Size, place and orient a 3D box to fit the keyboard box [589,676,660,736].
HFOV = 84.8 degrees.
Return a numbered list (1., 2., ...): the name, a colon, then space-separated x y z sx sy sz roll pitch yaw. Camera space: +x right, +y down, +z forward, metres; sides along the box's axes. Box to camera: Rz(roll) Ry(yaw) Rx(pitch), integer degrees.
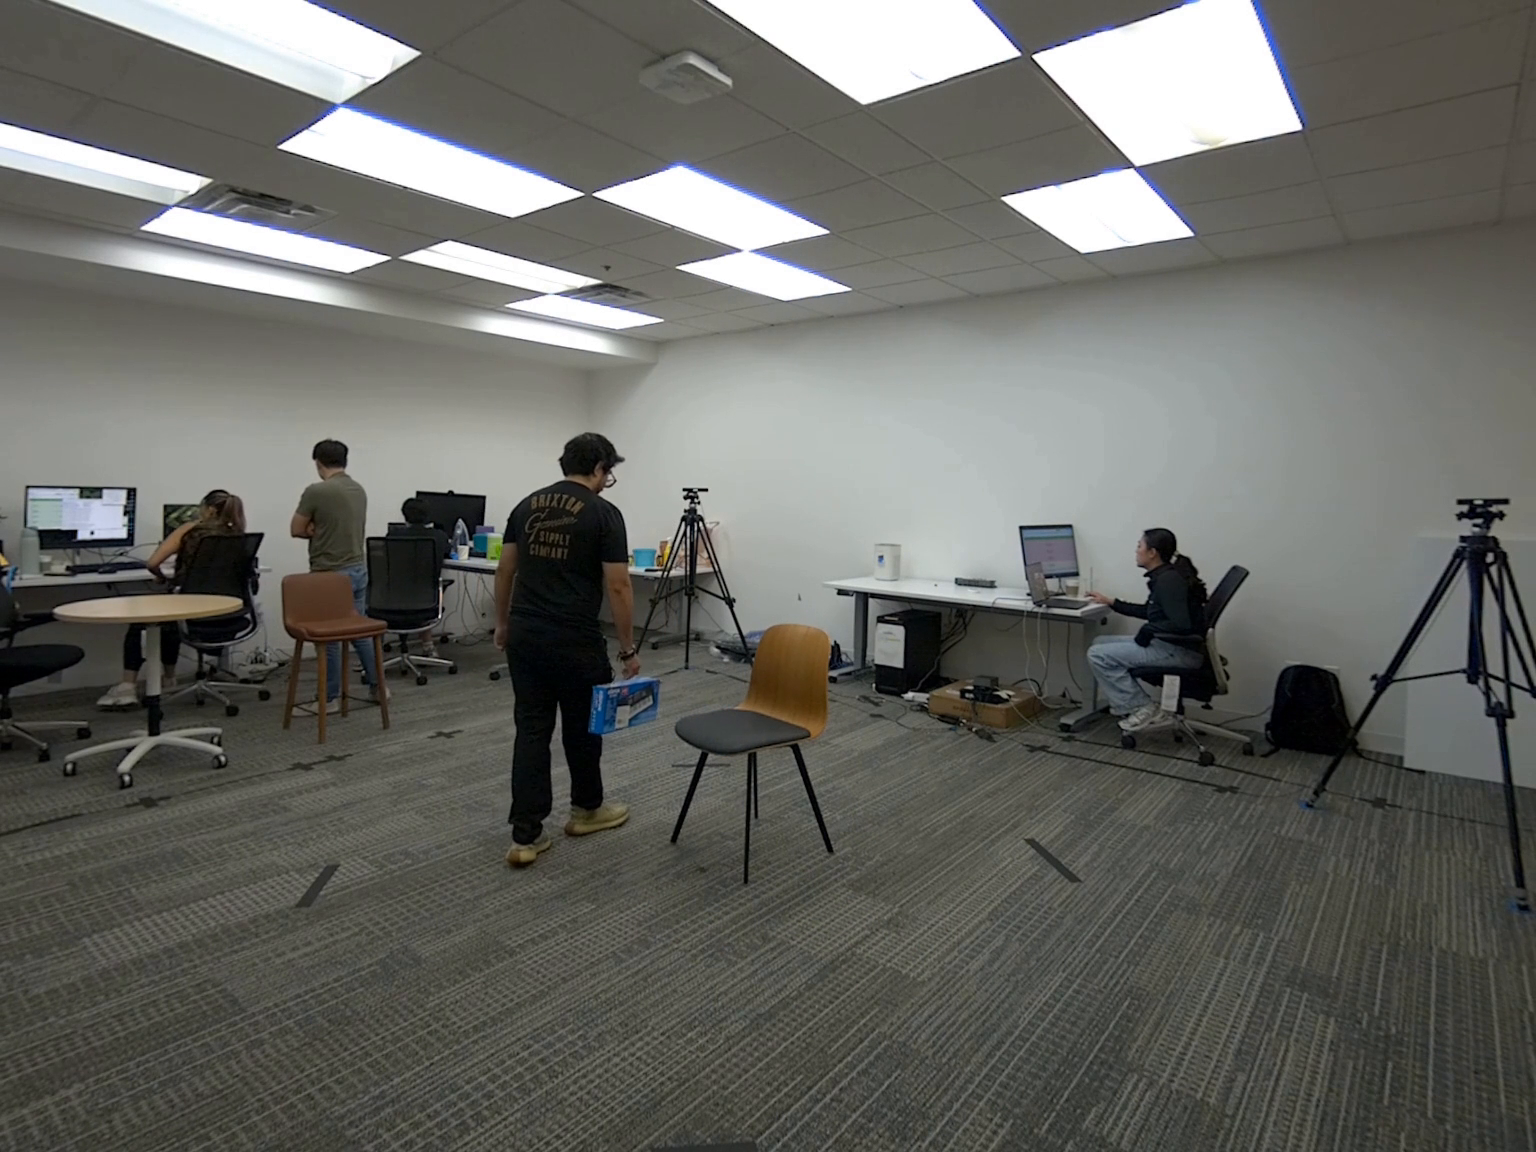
1. keyboard box: -0.567 0.502 3.324 0.060 0.176 0.426 4 -1 20
